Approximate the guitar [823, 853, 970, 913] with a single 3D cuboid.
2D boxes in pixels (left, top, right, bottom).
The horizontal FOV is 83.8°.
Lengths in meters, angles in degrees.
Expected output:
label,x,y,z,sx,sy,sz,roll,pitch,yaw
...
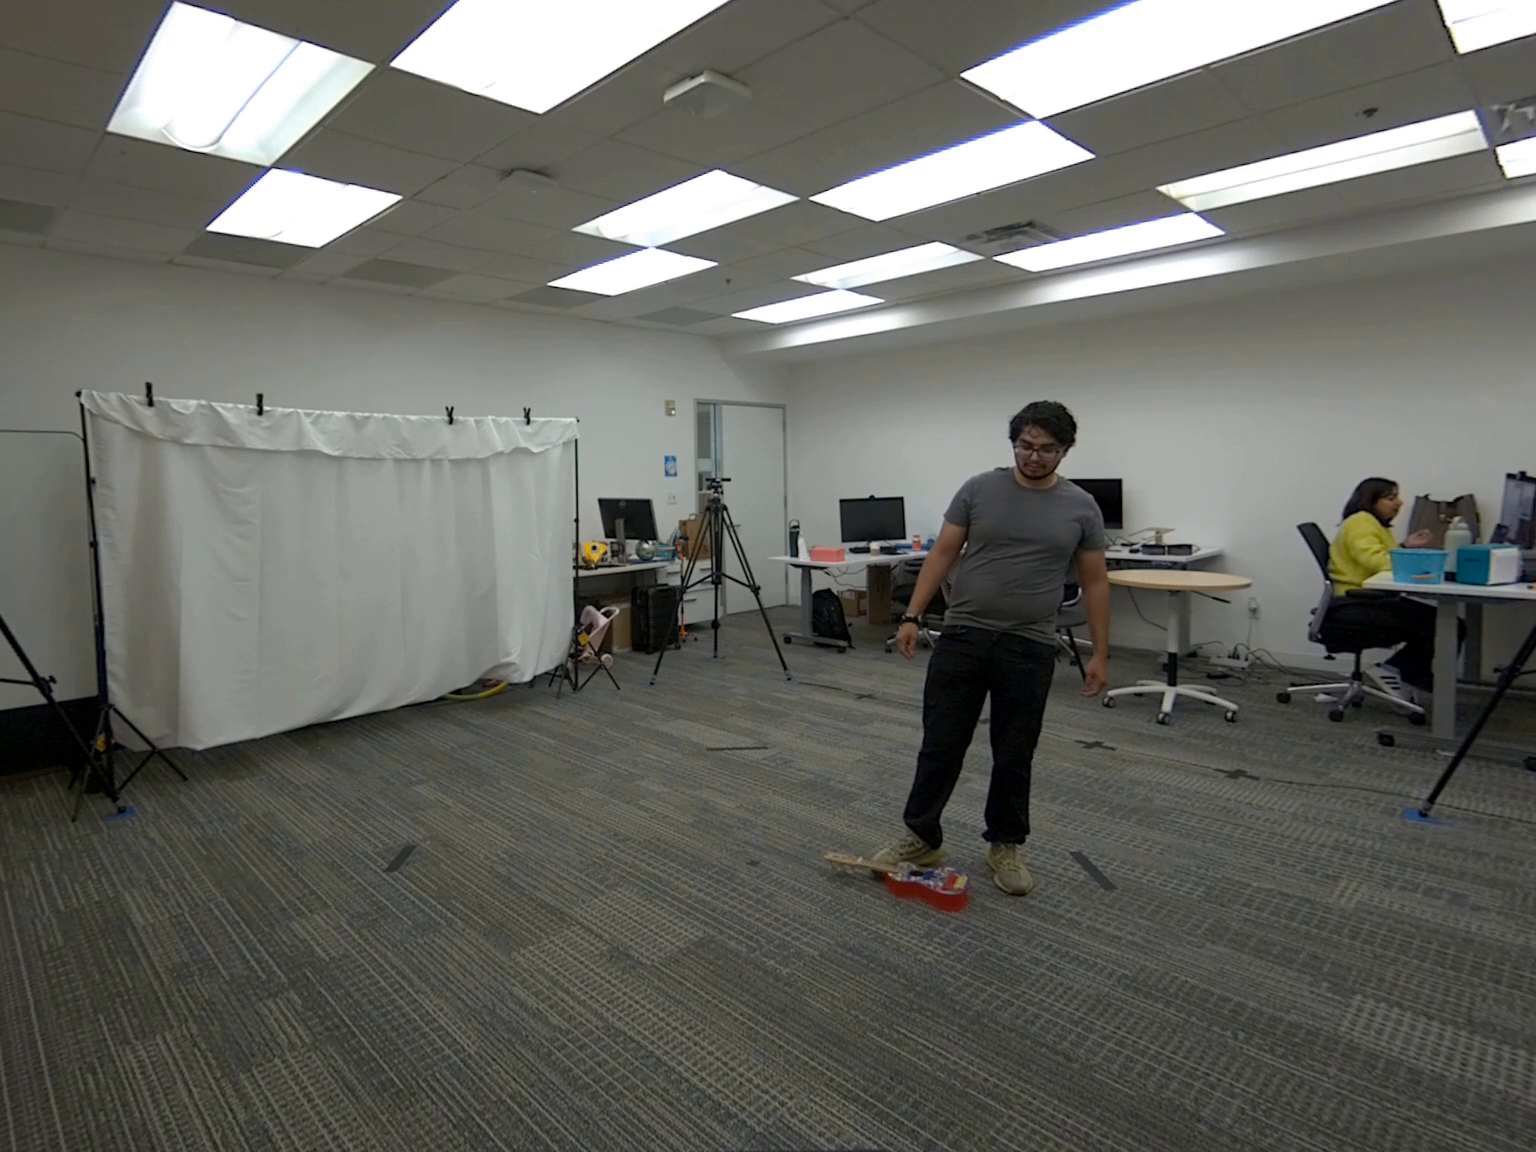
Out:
label,x,y,z,sx,sy,sz,roll,pitch,yaw
guitar,0.451,1.020,2.927,0.512,0.070,0.188,4,8,34
